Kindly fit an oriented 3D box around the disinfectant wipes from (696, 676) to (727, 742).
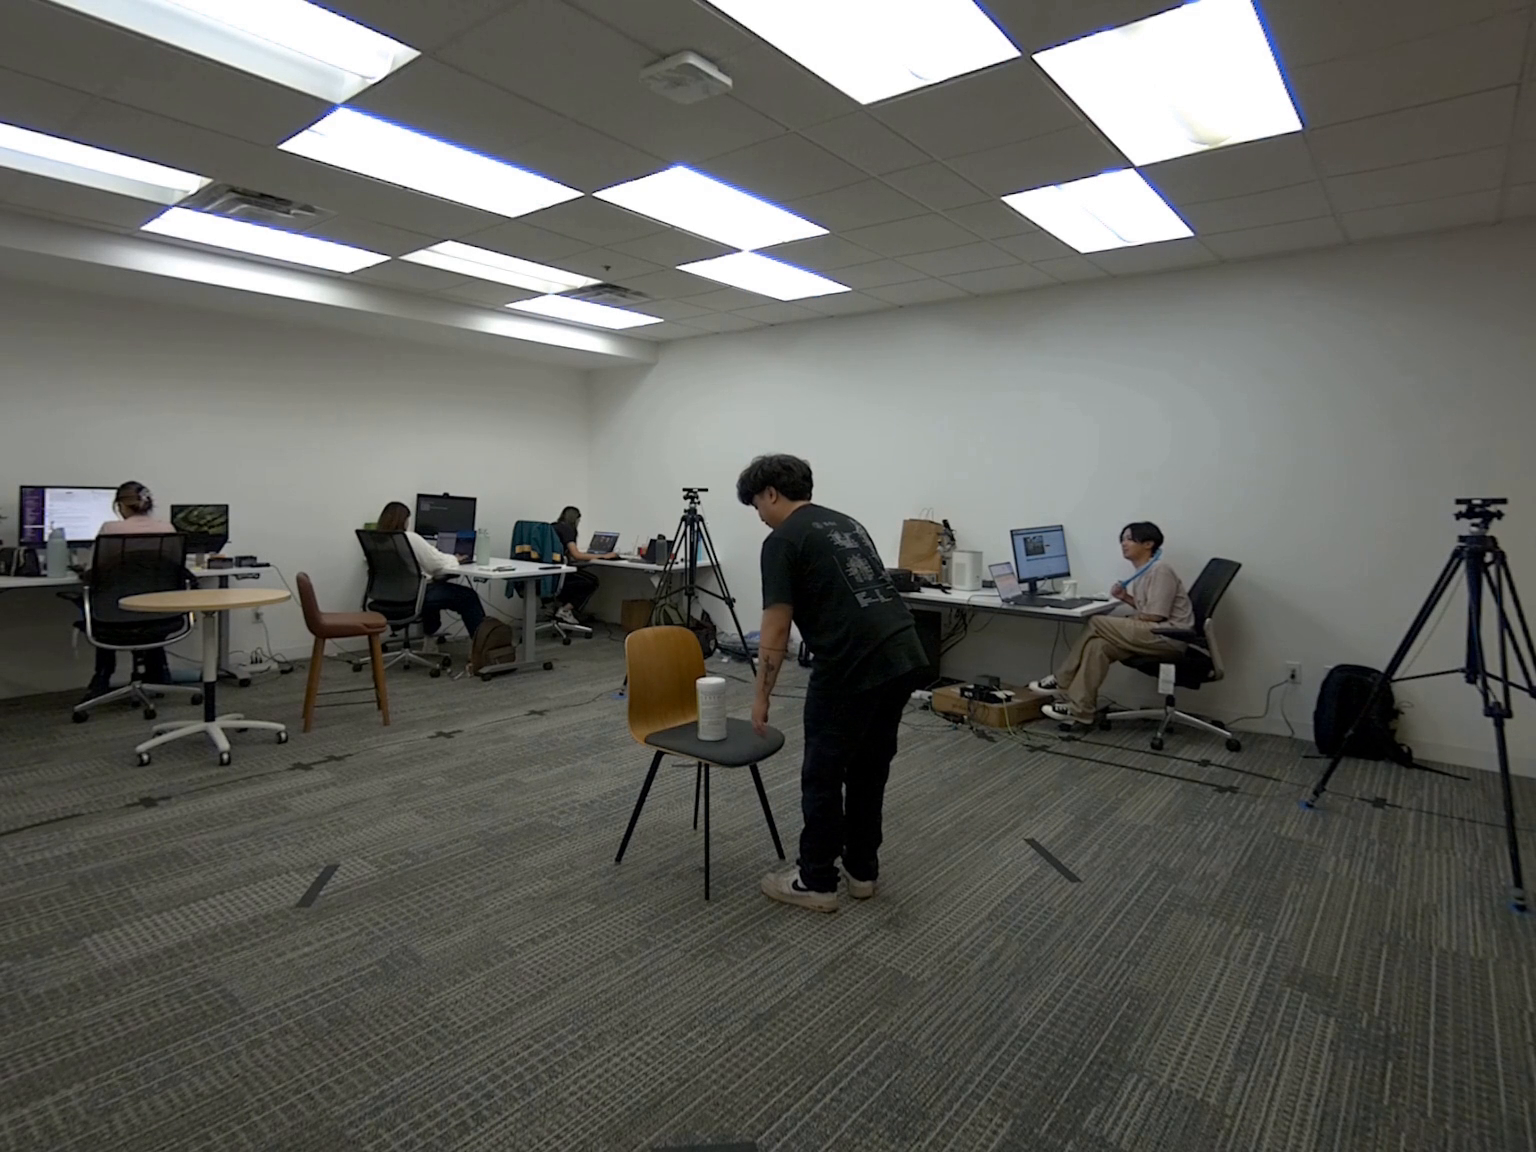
[{"bbox_3d":[-0.219,0.488,3.136,0.118,0.217,0.118,-2,0,-2],"label":"disinfectant wipes"}]
